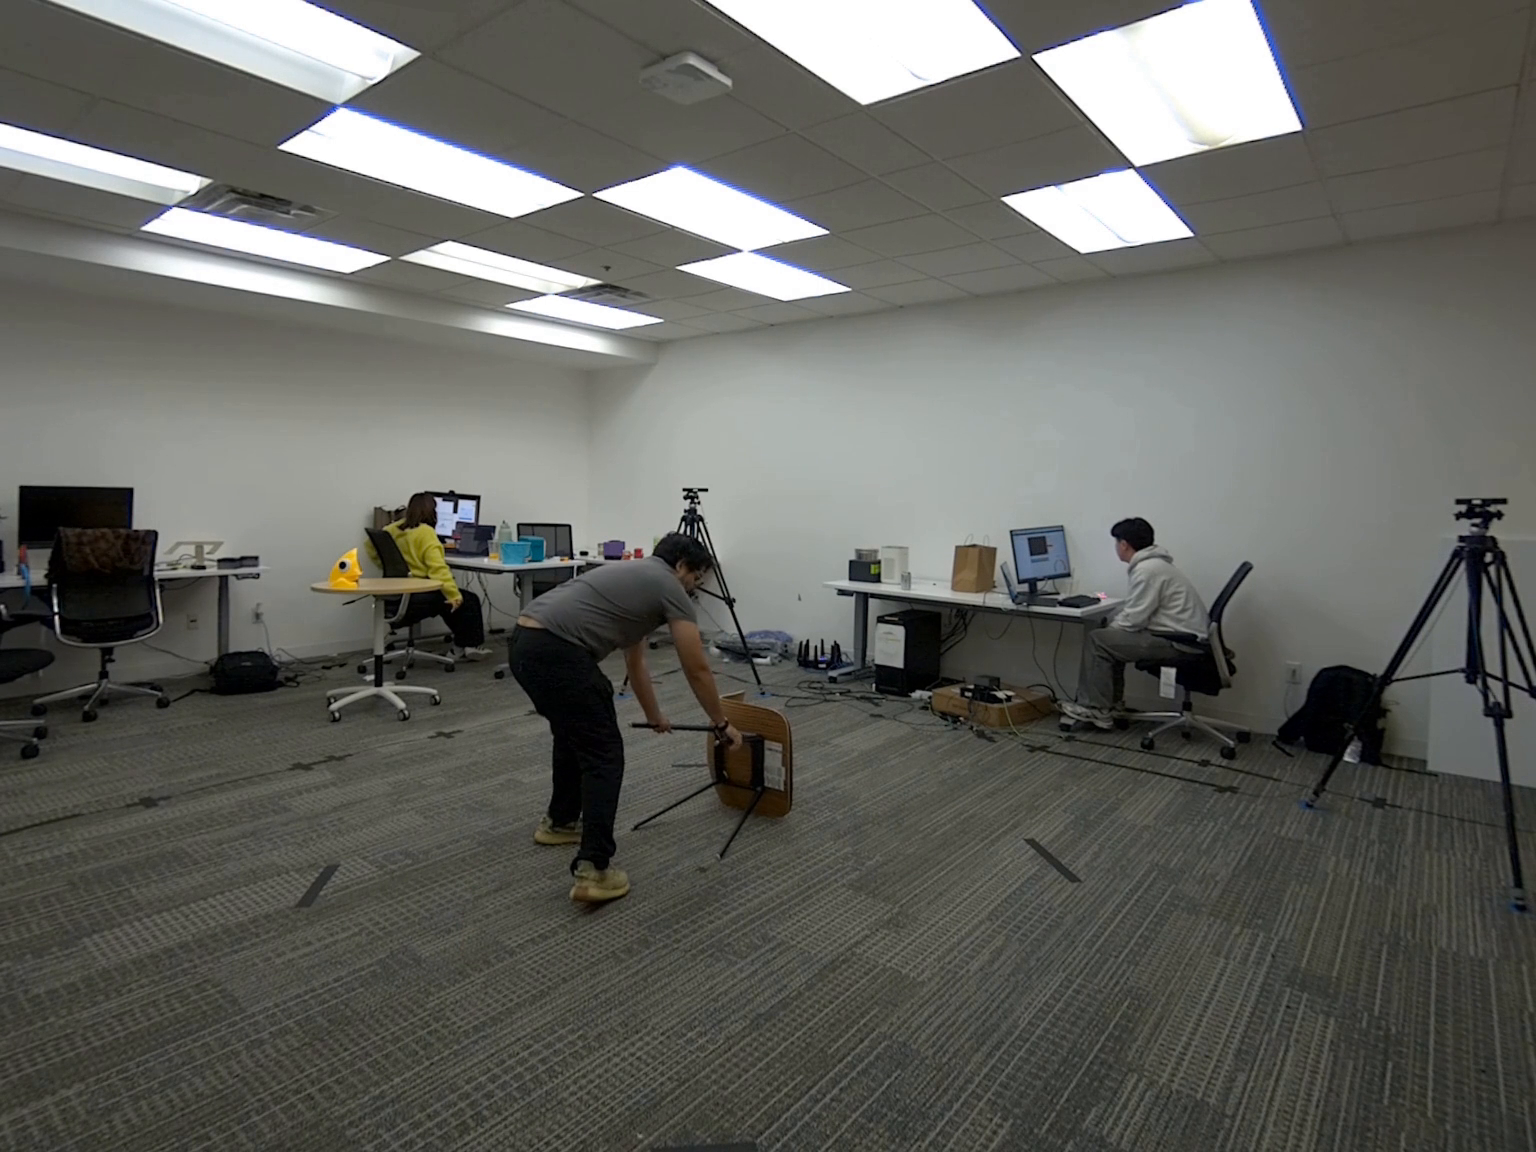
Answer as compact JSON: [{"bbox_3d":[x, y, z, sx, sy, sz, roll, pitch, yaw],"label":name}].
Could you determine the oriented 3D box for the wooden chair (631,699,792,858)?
[{"bbox_3d":[-0.135,0.790,3.648,0.538,0.476,0.856,2,6,30],"label":"wooden chair"}]
